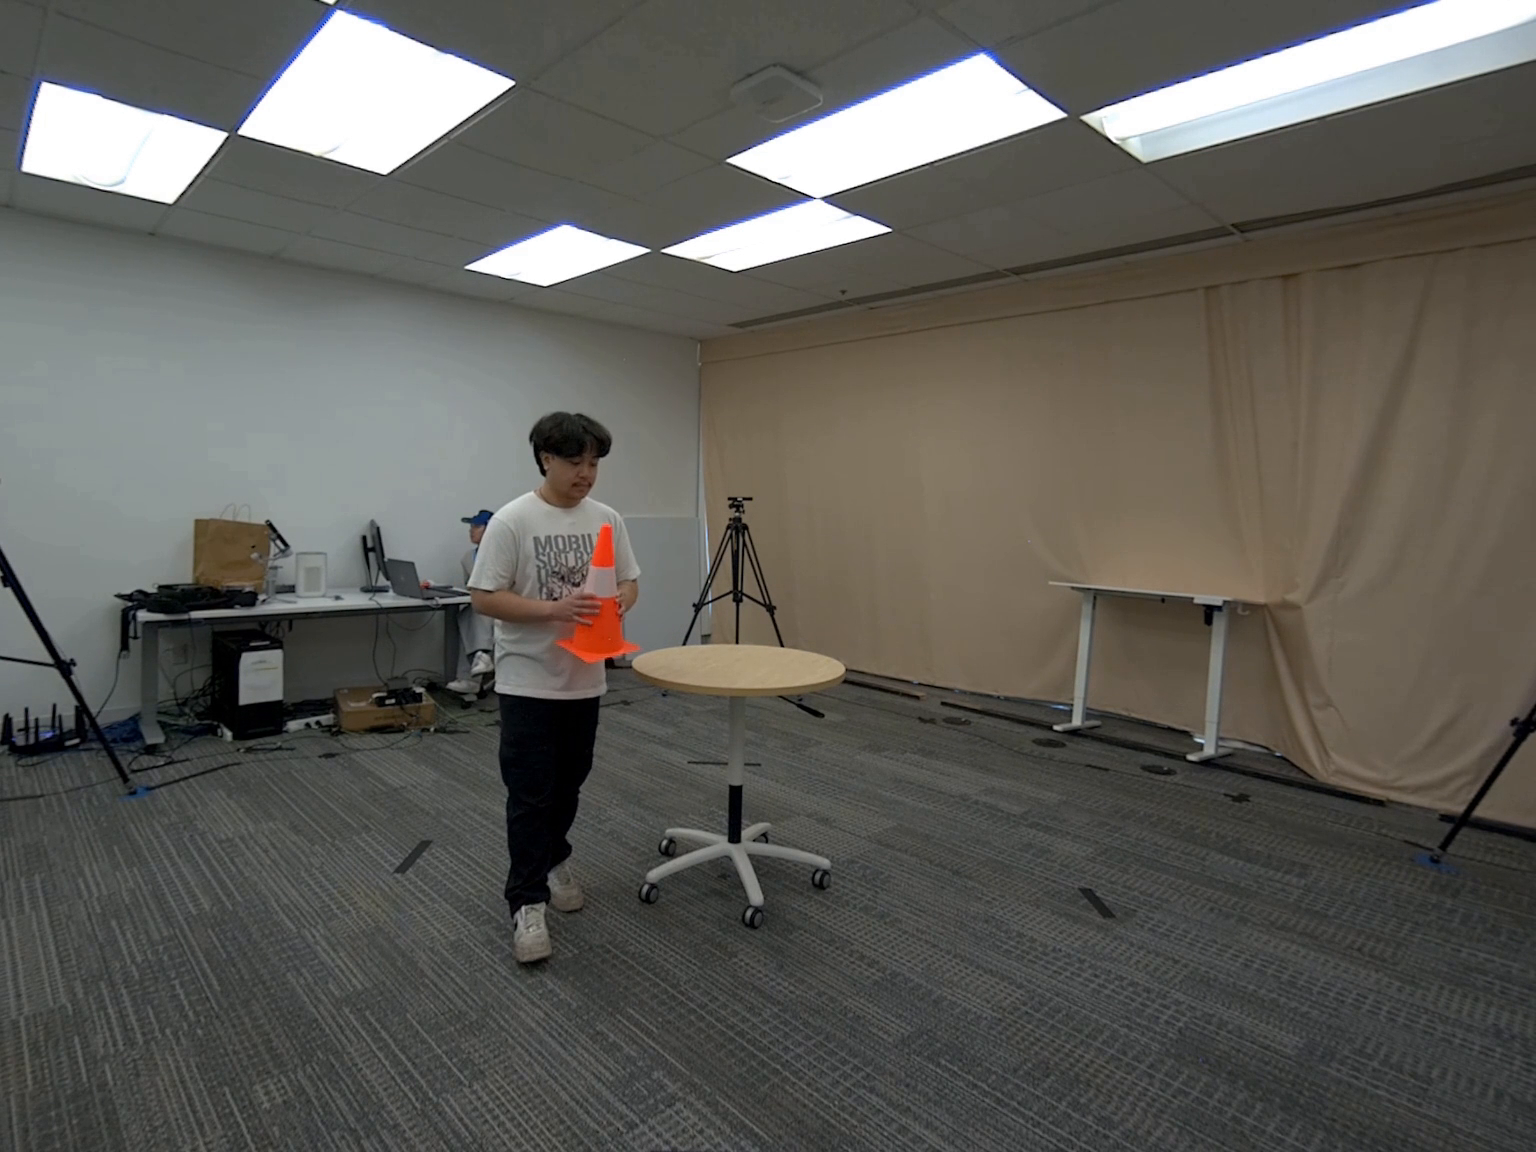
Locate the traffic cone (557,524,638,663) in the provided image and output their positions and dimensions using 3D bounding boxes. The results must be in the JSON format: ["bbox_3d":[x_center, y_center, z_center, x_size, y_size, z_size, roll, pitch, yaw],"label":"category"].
[{"bbox_3d":[-0.517,0.033,2.524,0.211,0.380,0.199,17,17,42],"label":"traffic cone"}]
